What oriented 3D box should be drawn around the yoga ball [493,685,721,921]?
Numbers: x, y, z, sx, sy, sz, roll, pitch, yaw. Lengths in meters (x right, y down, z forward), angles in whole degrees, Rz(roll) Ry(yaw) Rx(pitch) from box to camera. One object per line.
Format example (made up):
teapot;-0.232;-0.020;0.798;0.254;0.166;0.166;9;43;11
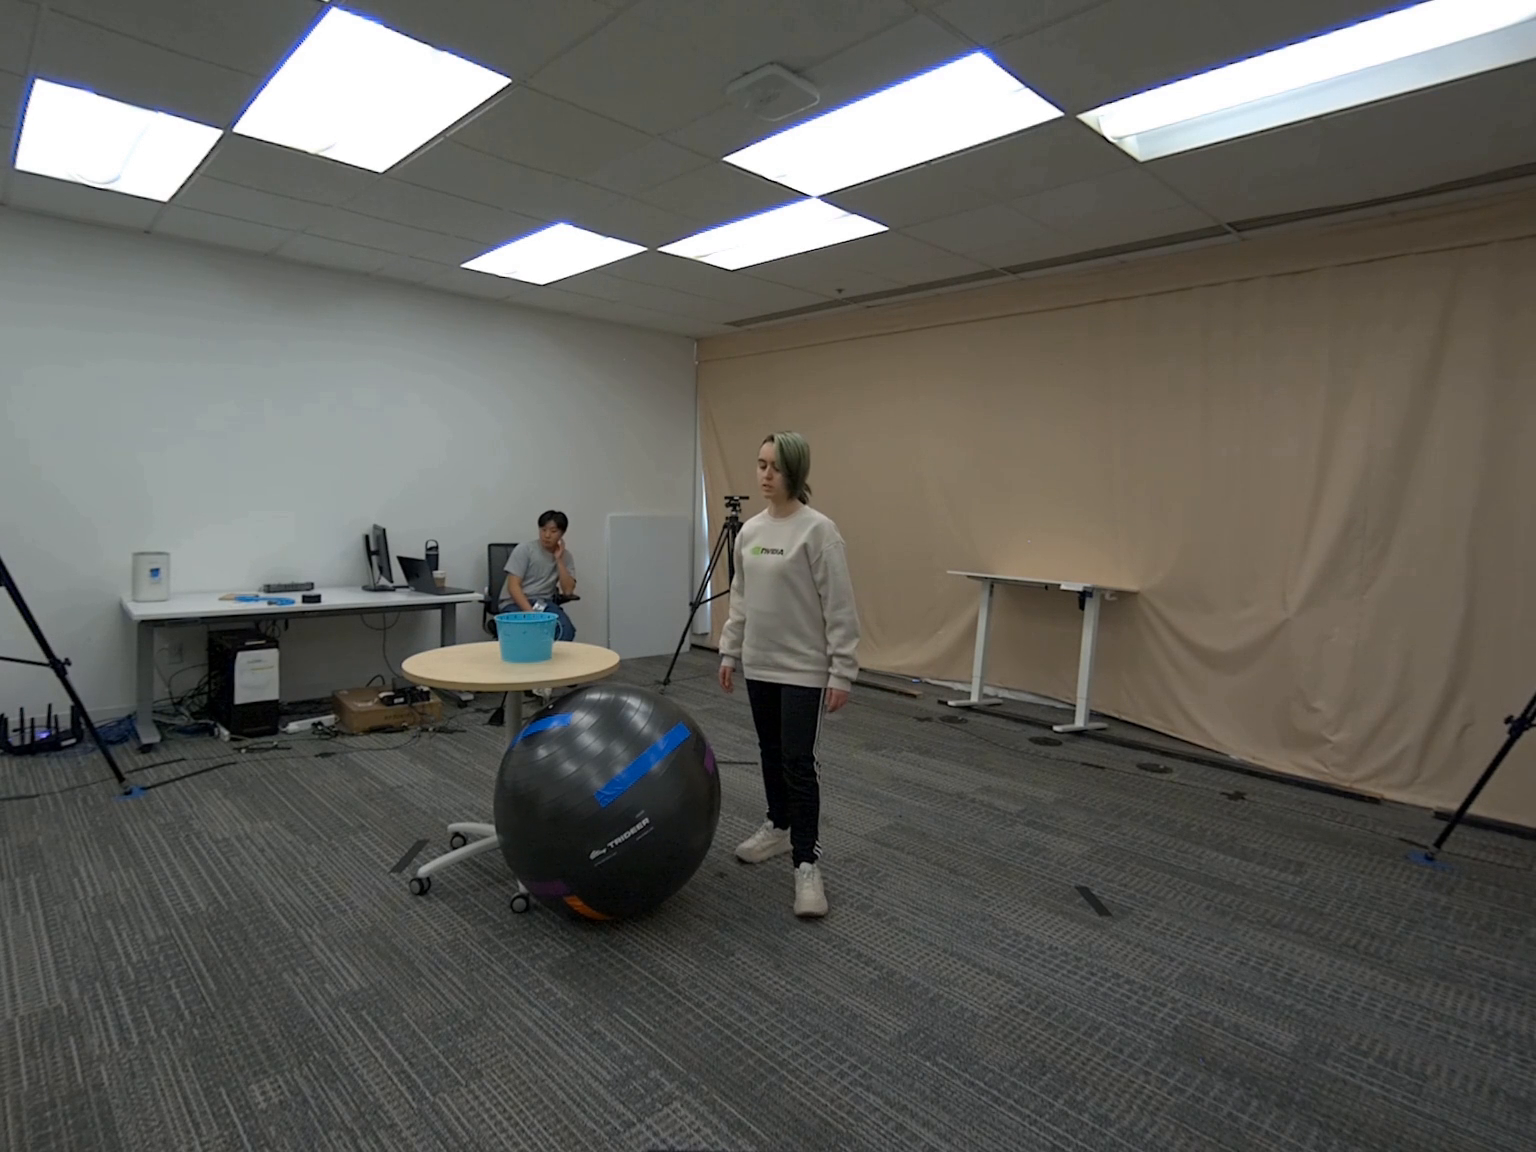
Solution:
yoga ball;-0.553;0.758;2.823;0.757;0.756;0.761;1;4;-1
